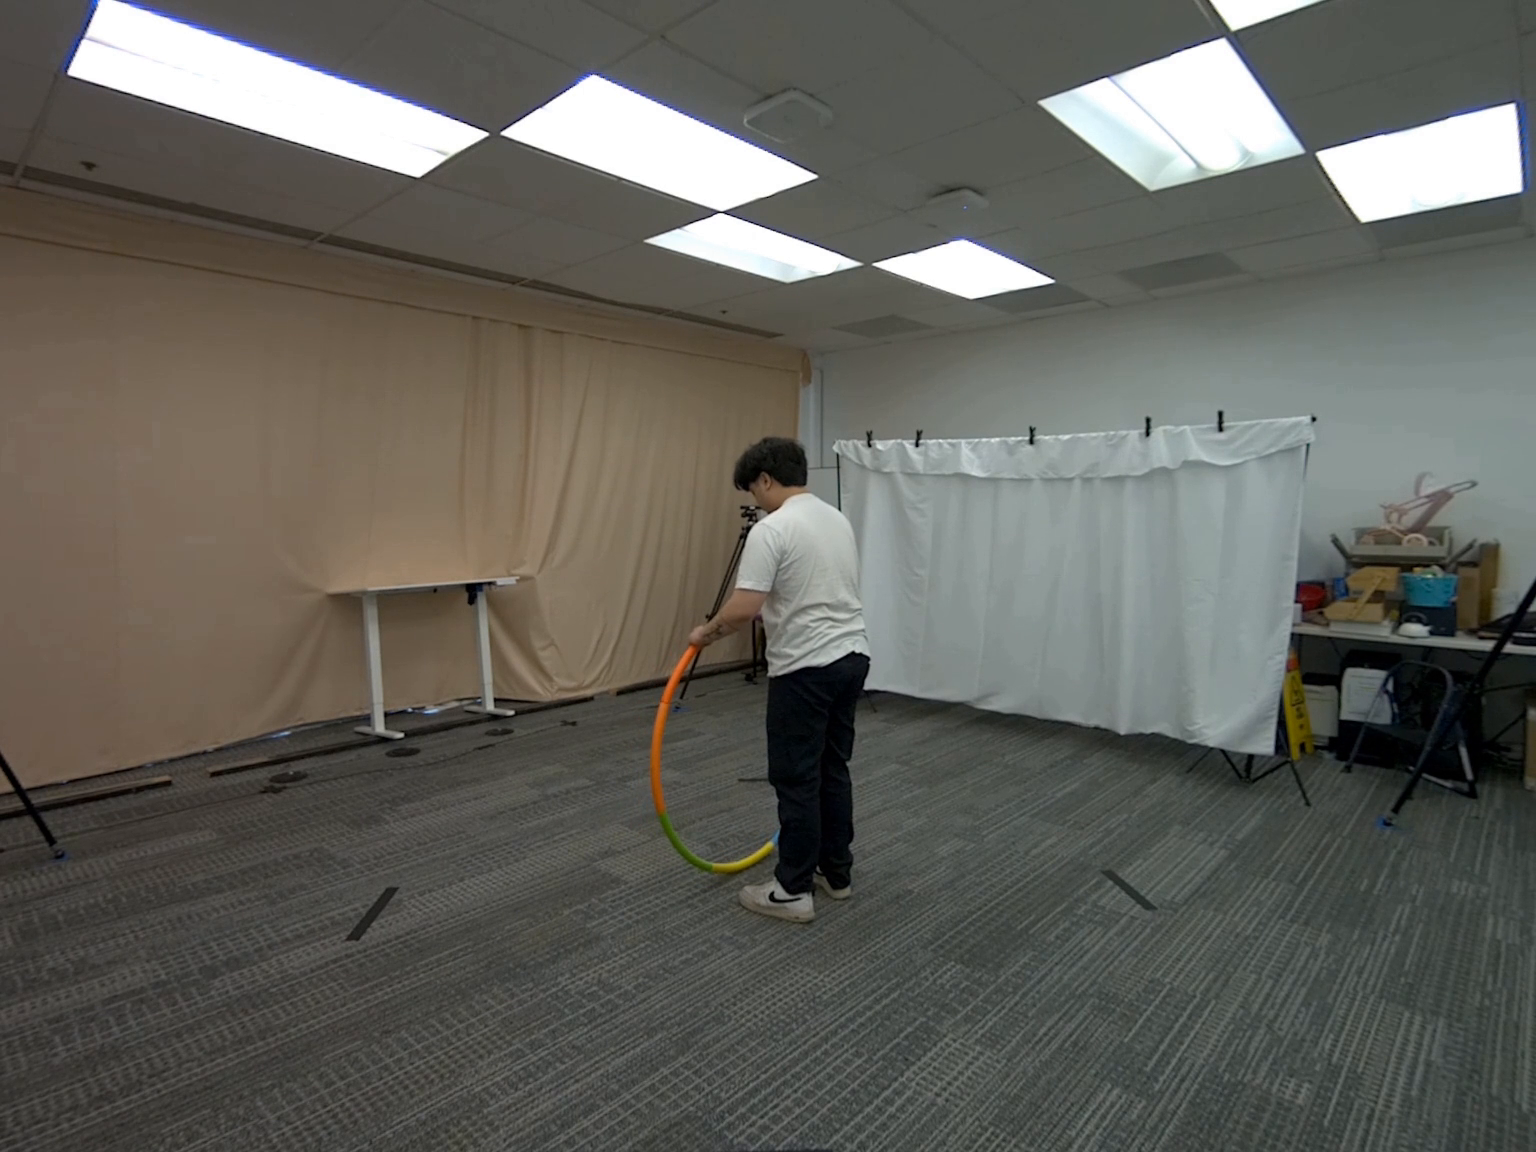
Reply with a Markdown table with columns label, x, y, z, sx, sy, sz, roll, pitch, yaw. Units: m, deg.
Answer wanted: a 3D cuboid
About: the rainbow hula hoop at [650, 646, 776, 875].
| label | x | y | z | sx | sy | sz | roll | pitch | yaw |
| --- | --- | --- | --- | --- | --- | --- | --- | --- | --- |
| rainbow hula hoop | -0.082 | 0.631 | 3.223 | 0.053 | 0.983 | 0.955 | 3 | 5 | 42 |
